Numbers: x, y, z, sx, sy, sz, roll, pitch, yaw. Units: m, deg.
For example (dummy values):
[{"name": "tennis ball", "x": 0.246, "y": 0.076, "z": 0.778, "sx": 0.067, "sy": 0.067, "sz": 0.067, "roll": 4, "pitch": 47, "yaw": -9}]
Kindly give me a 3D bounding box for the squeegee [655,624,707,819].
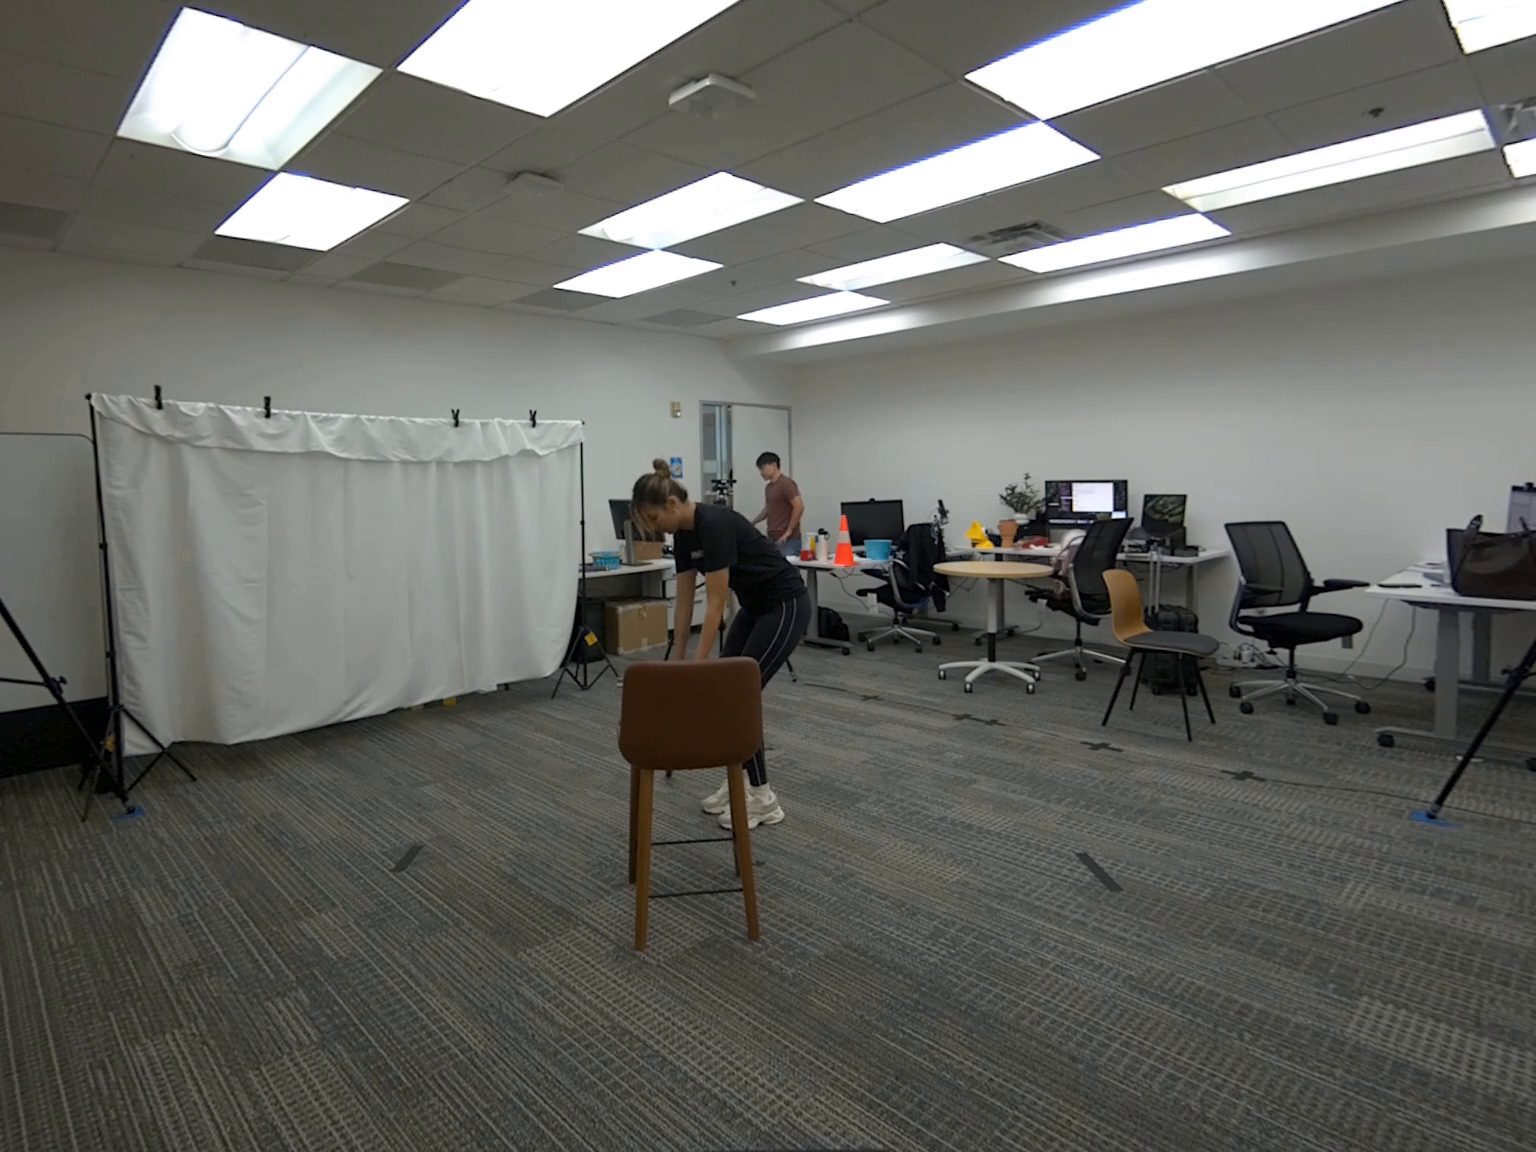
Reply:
[{"name": "squeegee", "x": -0.370, "y": 0.640, "z": 3.386, "sx": 0.052, "sy": 0.447, "sz": 1.516, "roll": -10, "pitch": -20, "yaw": -12}]
